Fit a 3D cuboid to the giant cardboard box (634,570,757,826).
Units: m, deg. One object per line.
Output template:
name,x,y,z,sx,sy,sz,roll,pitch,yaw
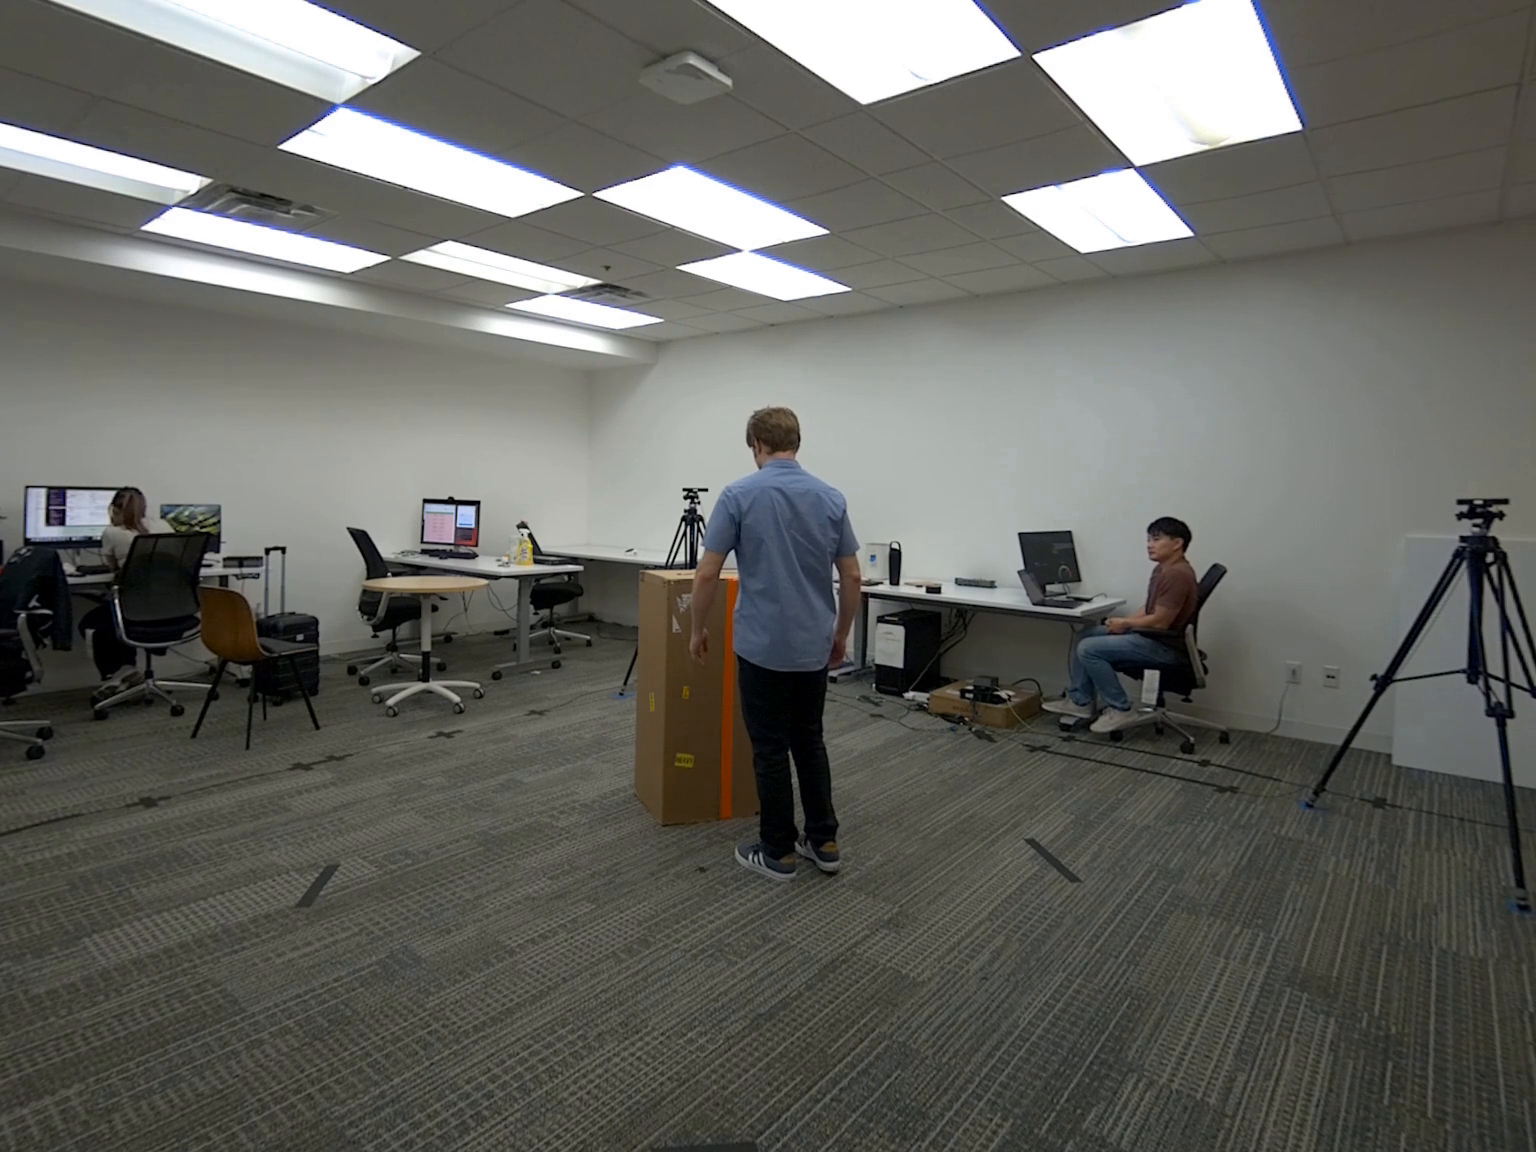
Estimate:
giant cardboard box,-0.263,0.499,3.774,0.570,1.025,0.458,0,2,-24
